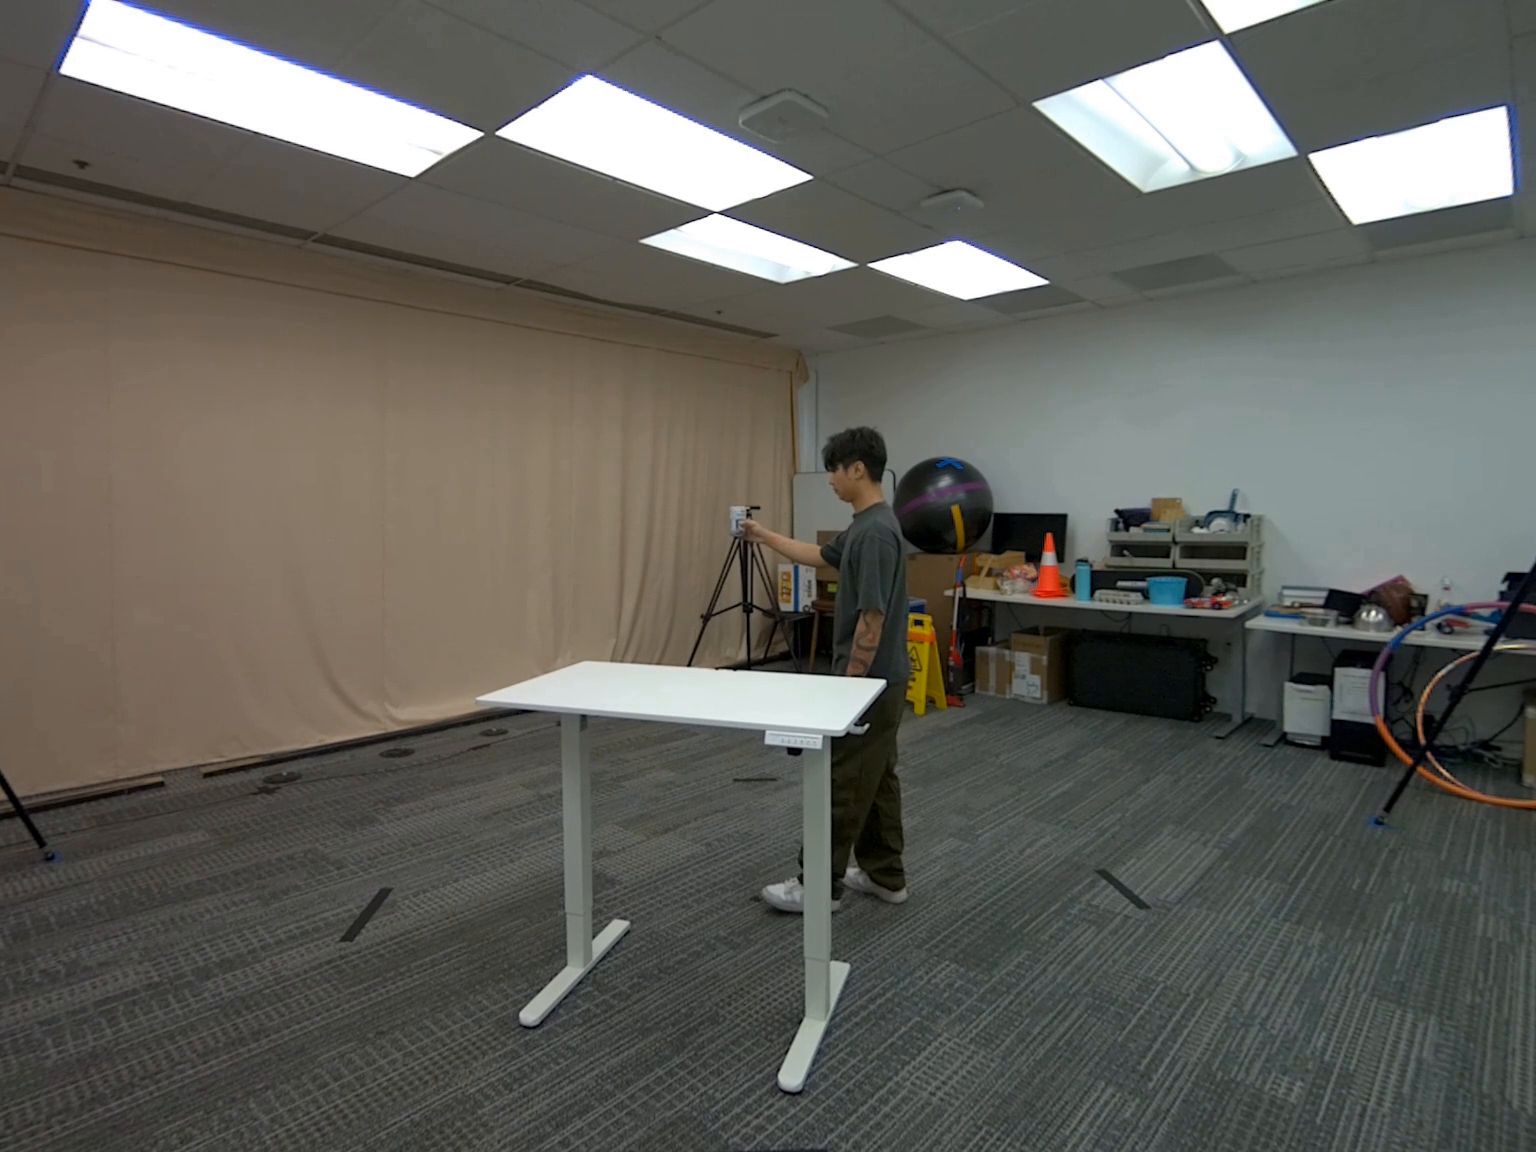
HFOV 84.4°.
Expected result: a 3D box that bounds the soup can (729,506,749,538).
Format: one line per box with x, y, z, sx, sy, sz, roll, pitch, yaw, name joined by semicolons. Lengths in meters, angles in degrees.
-0.122;-0.220;3.420;0.067;0.121;0.067;0;0;-2;soup can
